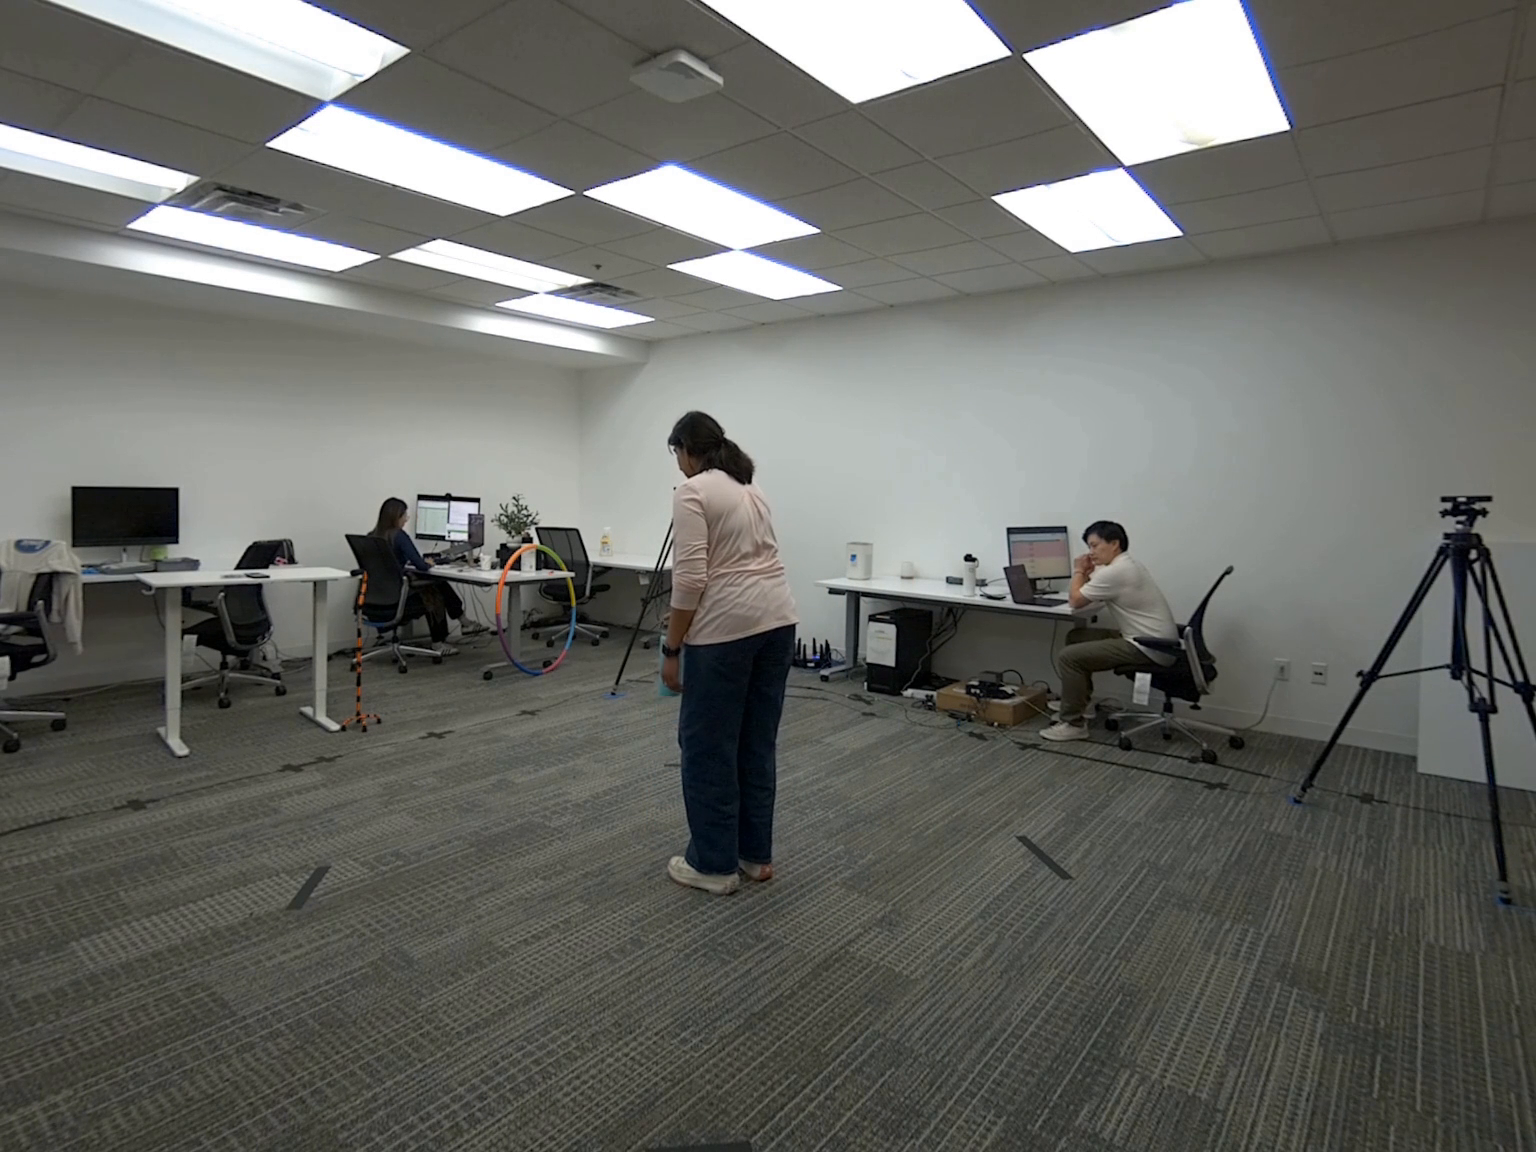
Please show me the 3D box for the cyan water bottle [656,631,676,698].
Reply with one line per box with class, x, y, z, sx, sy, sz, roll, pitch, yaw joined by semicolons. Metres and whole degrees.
cyan water bottle;-0.378;0.312;3.249;0.092;0.283;0.092;5;1;-2
